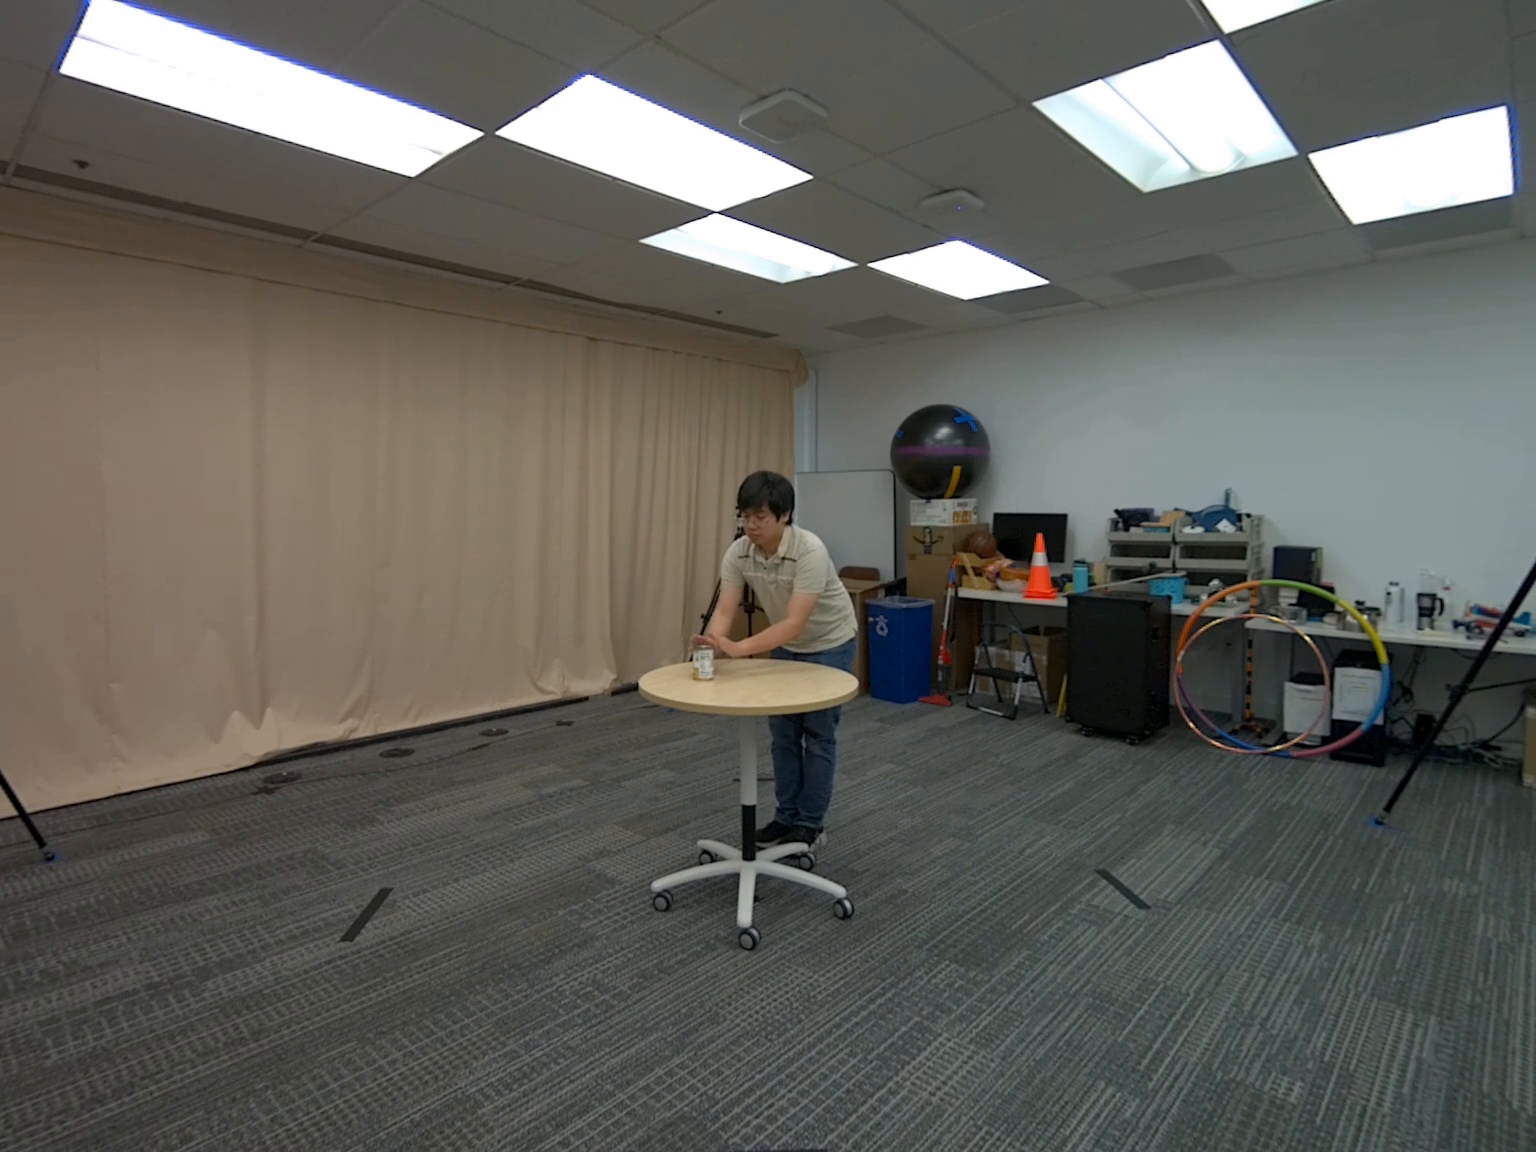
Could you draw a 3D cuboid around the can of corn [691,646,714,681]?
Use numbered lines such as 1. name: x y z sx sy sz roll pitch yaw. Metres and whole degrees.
1. can of corn: -0.230 0.311 2.962 0.074 0.111 0.074 -3 4 -2
